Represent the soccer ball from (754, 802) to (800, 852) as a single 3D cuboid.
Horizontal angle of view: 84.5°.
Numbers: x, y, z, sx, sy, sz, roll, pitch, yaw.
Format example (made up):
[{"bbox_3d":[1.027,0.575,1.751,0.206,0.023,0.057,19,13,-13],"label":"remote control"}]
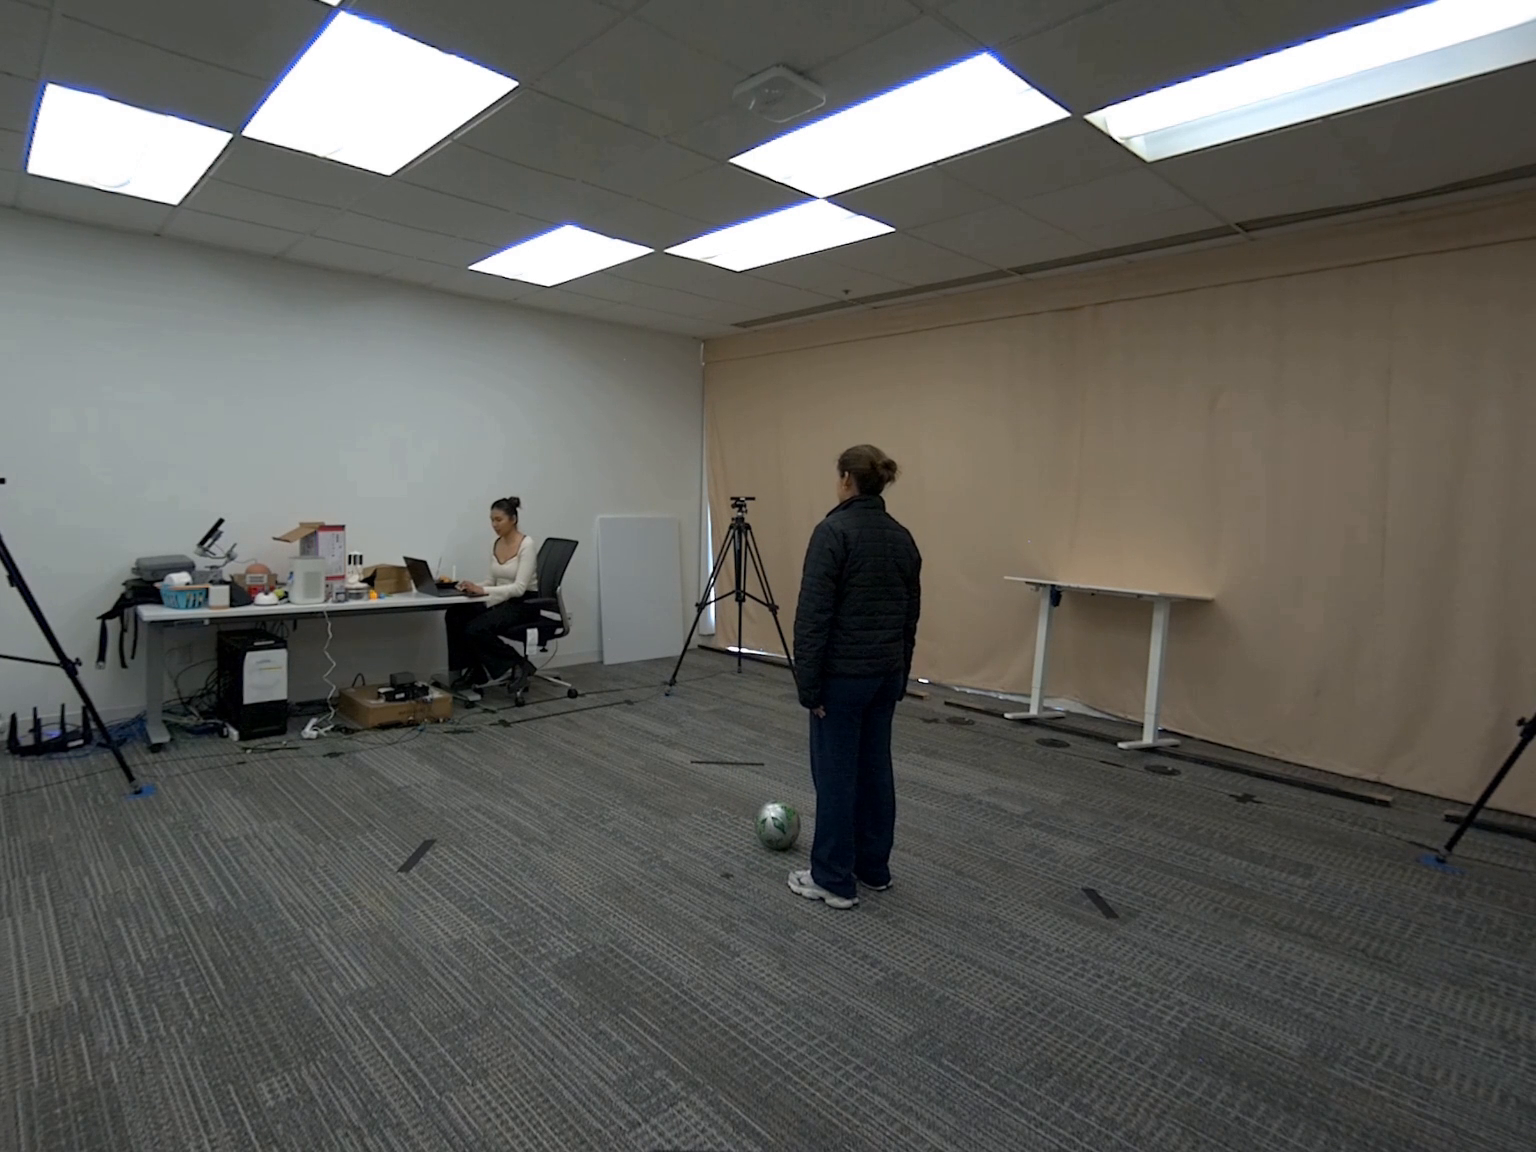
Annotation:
[{"bbox_3d":[0.032,0.992,3.369,0.187,0.187,0.188,1,4,-1],"label":"soccer ball"}]
